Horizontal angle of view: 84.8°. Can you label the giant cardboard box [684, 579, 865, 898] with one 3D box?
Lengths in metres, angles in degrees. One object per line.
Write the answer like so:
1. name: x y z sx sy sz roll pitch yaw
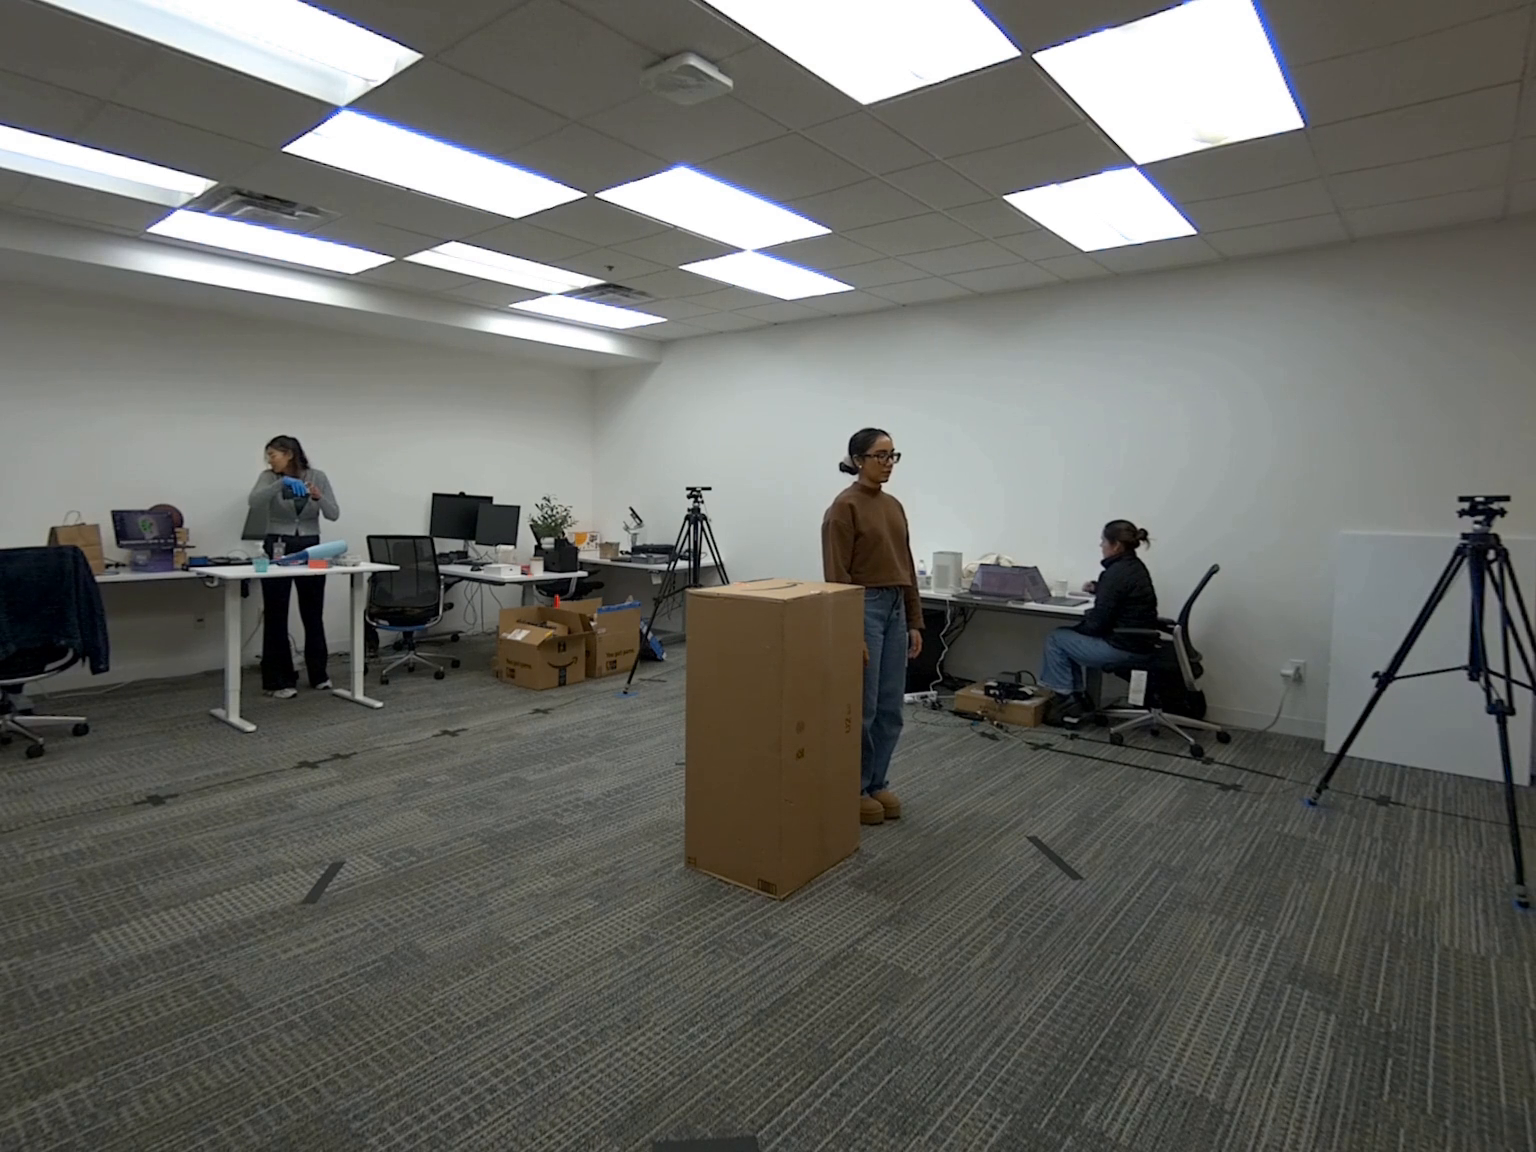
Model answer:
1. giant cardboard box: 0.017 0.552 3.189 0.440 1.023 0.561 3 4 36
